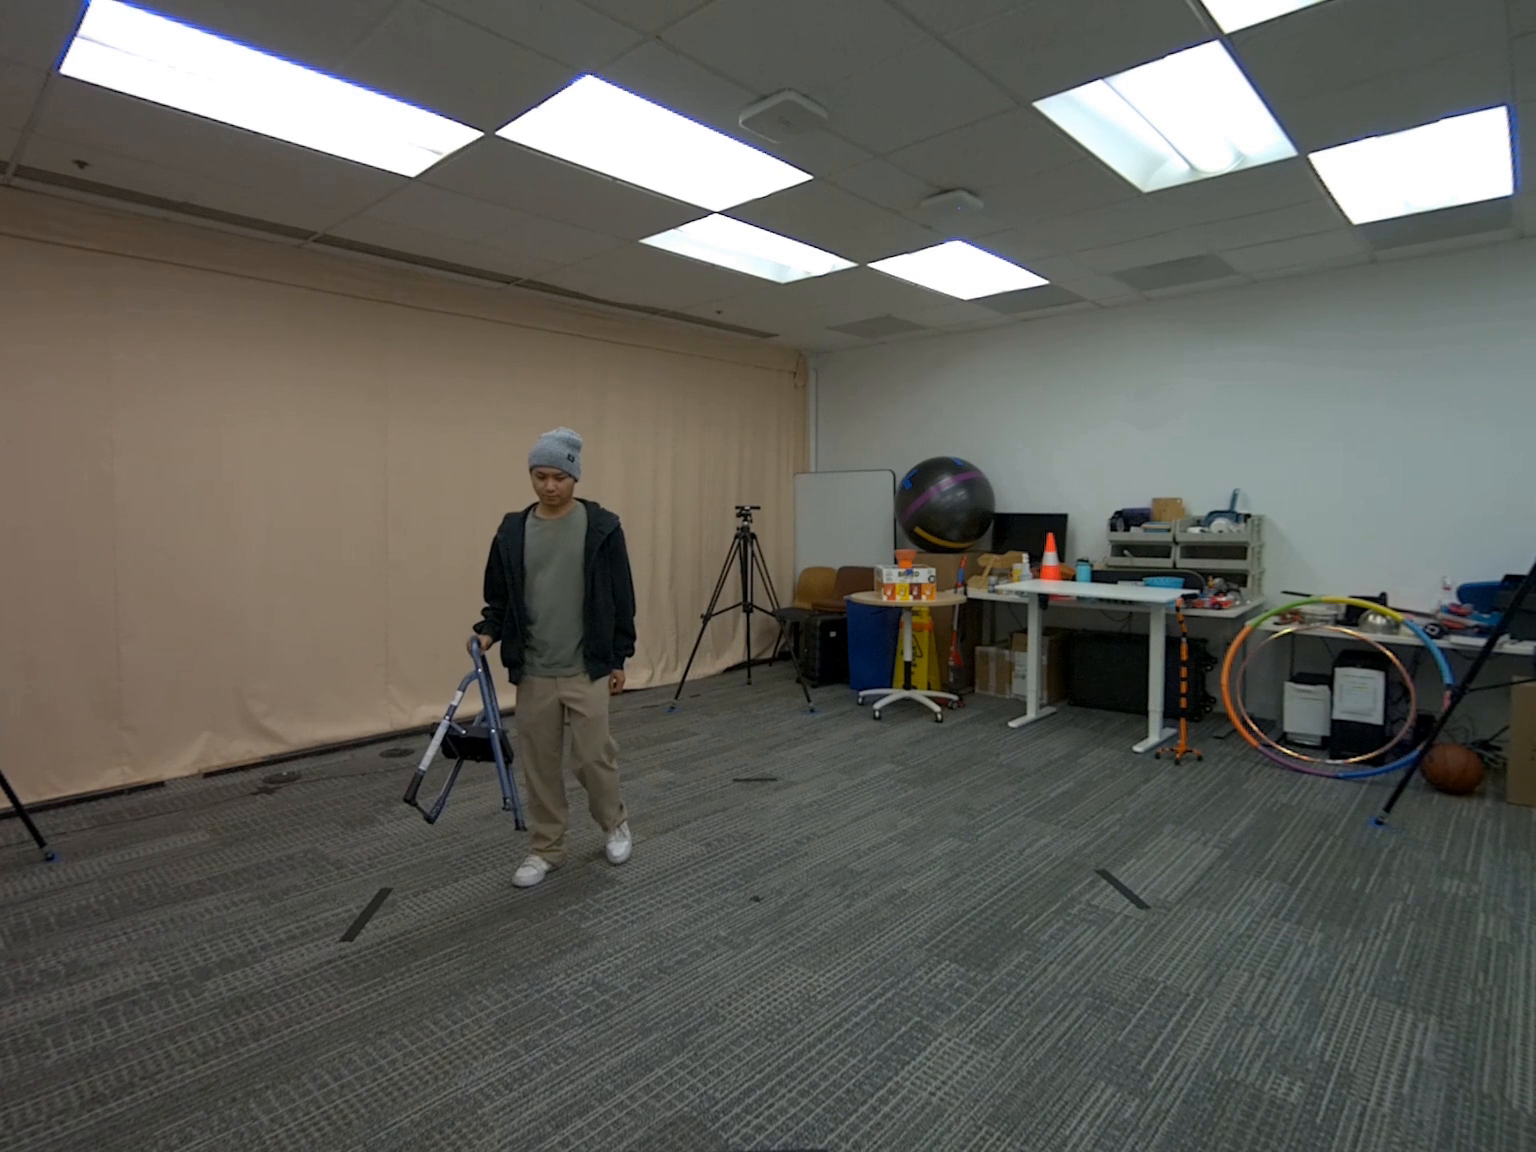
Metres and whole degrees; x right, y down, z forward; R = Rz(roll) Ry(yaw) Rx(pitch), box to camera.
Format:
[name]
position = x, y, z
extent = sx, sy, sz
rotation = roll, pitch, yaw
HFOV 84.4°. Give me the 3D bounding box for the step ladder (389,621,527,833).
[step ladder]
position = -1.011, 0.525, 2.905
extent = 0.347, 0.615, 0.428
rotation = 4, -26, -8
